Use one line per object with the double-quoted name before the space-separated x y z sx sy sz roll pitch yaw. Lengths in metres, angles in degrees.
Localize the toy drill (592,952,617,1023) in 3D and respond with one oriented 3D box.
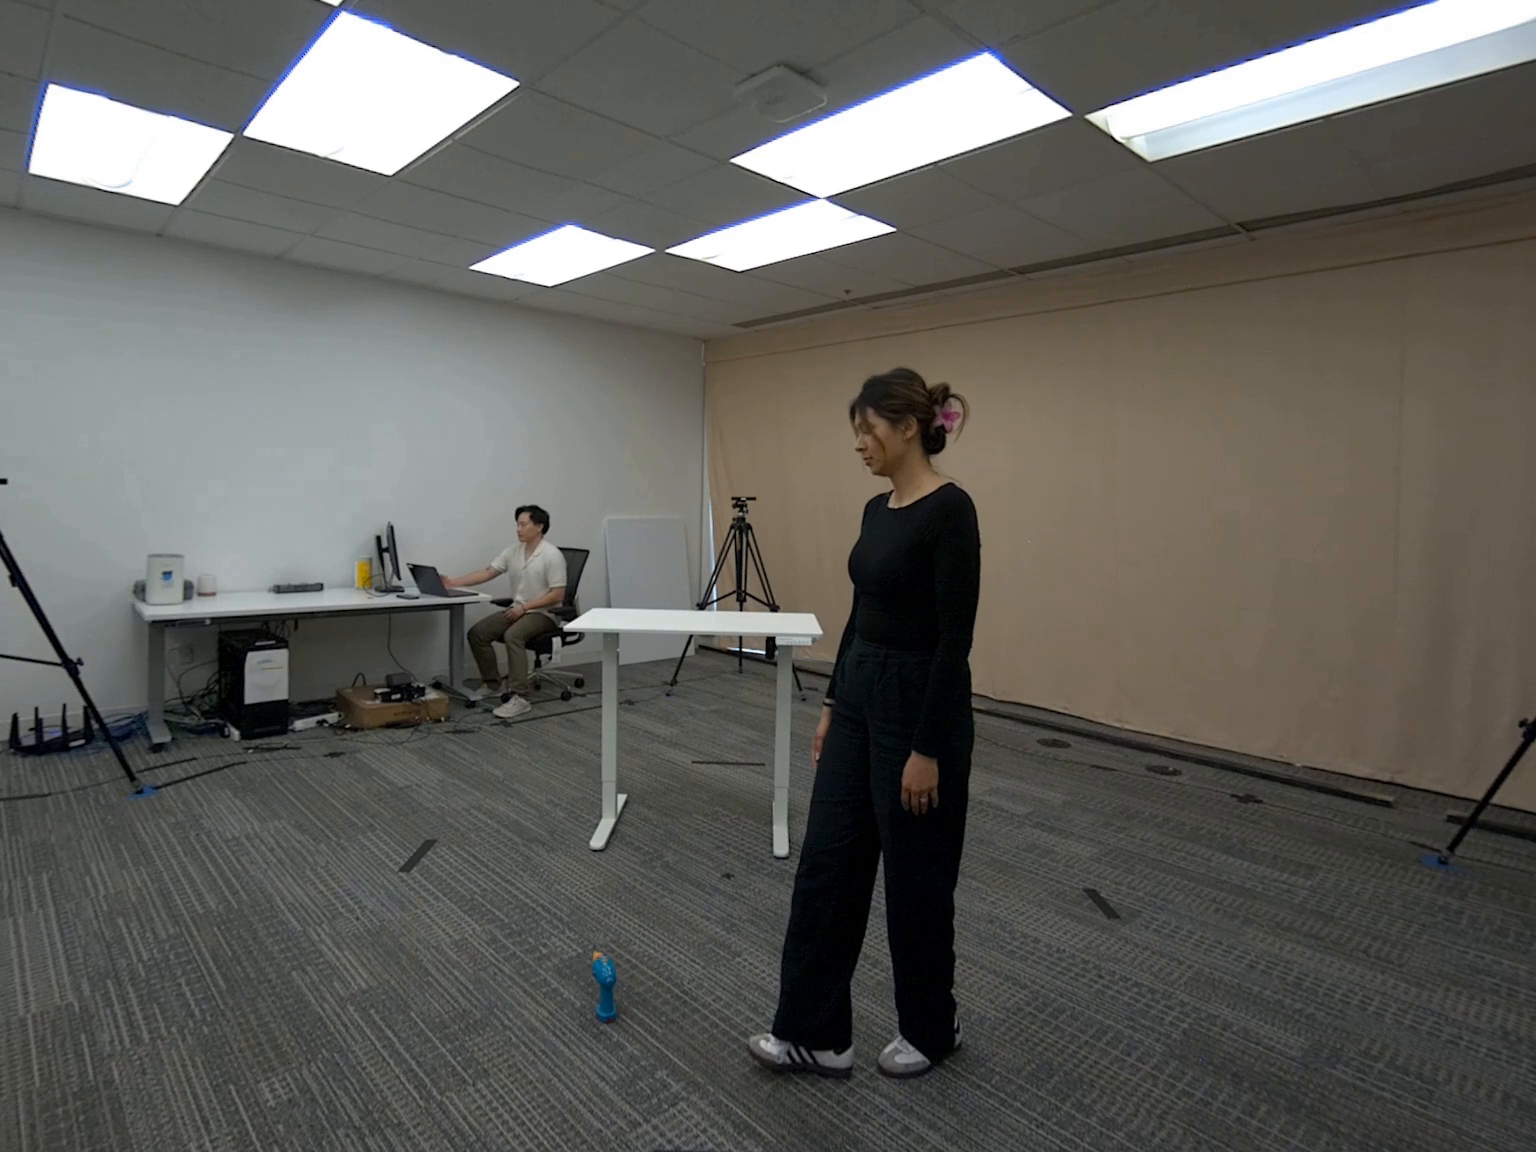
"toy drill" -0.453 1.105 2.275 0.060 0.145 0.173 -4 6 -25
